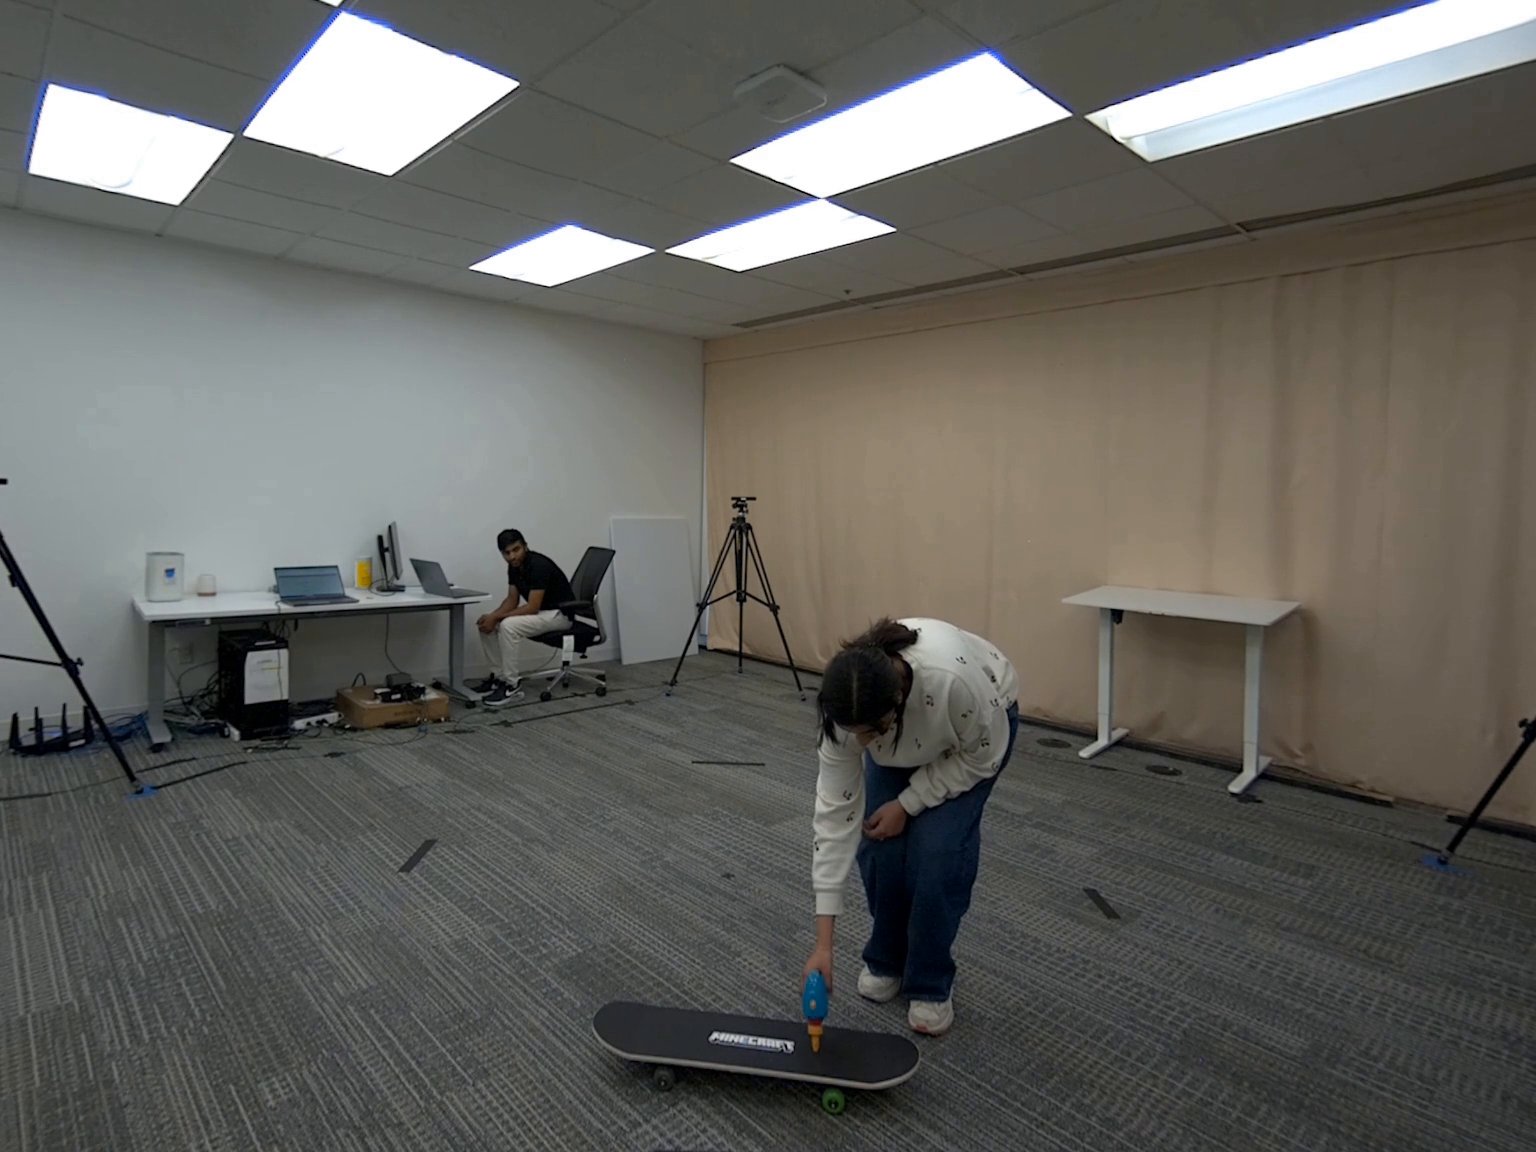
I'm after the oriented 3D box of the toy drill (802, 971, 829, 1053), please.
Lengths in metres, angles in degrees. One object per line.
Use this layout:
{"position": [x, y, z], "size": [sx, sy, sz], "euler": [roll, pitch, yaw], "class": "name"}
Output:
{"position": [0.108, 1.041, 2.016], "size": [0.061, 0.172, 0.143], "euler": [-3, -16, 9], "class": "toy drill"}
